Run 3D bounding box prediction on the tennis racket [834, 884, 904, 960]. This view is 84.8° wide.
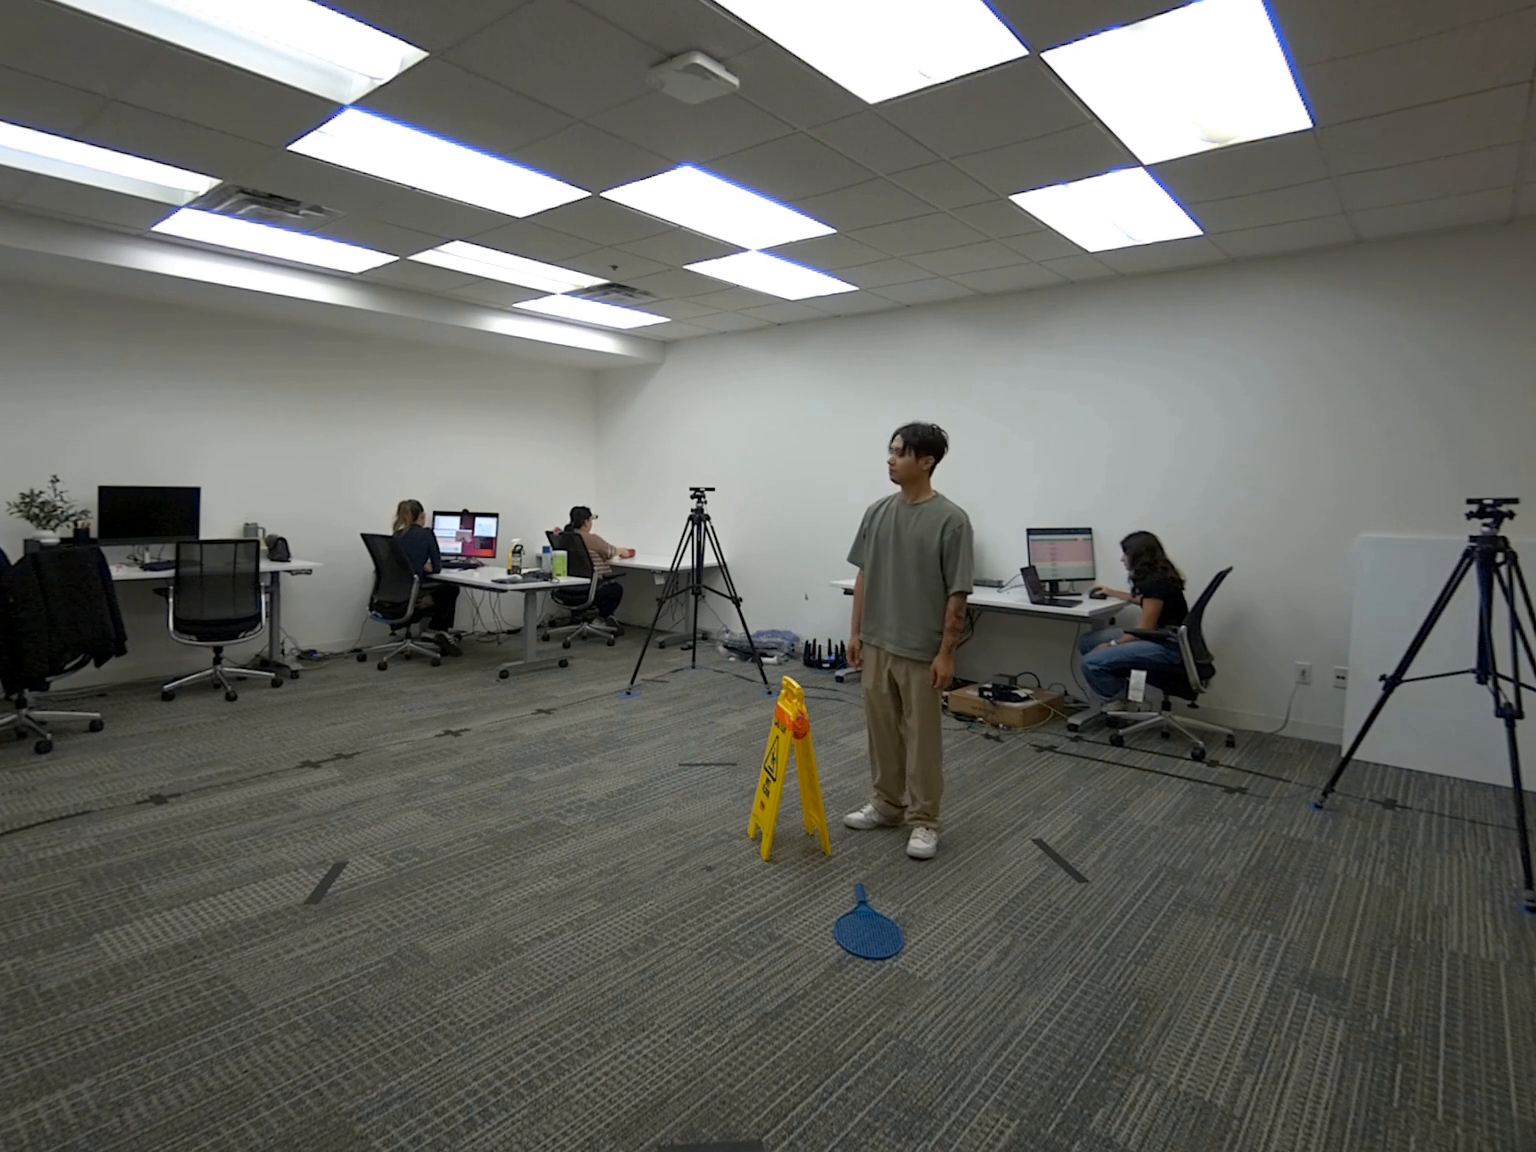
[{"bbox_3d":[0.304,1.103,2.739,0.214,0.031,0.434,2,7,0],"label":"tennis racket"}]
